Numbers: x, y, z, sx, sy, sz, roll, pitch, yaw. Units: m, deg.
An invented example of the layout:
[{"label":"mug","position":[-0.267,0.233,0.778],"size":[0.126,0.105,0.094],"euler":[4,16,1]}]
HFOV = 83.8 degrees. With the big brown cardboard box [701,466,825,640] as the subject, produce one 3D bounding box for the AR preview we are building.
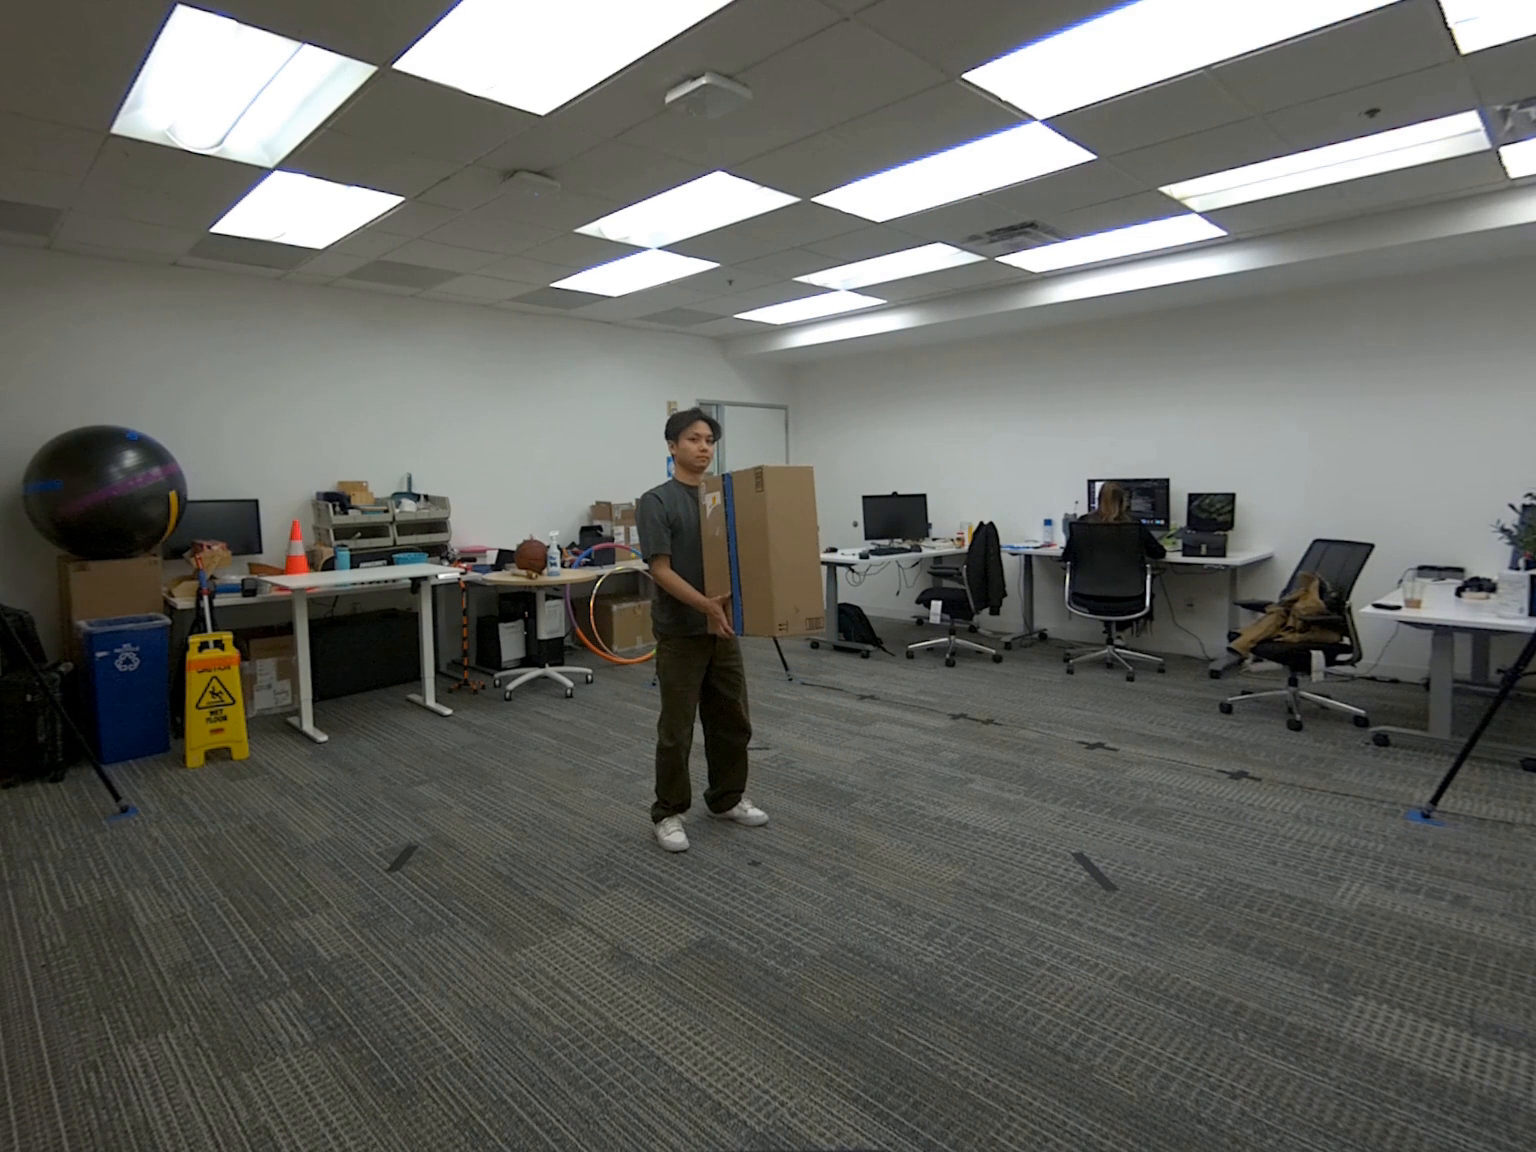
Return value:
[{"label":"big brown cardboard box","position":[-0.029,-0.087,3.003],"size":[0.227,0.590,0.427],"euler":[-3,-2,-34]}]
